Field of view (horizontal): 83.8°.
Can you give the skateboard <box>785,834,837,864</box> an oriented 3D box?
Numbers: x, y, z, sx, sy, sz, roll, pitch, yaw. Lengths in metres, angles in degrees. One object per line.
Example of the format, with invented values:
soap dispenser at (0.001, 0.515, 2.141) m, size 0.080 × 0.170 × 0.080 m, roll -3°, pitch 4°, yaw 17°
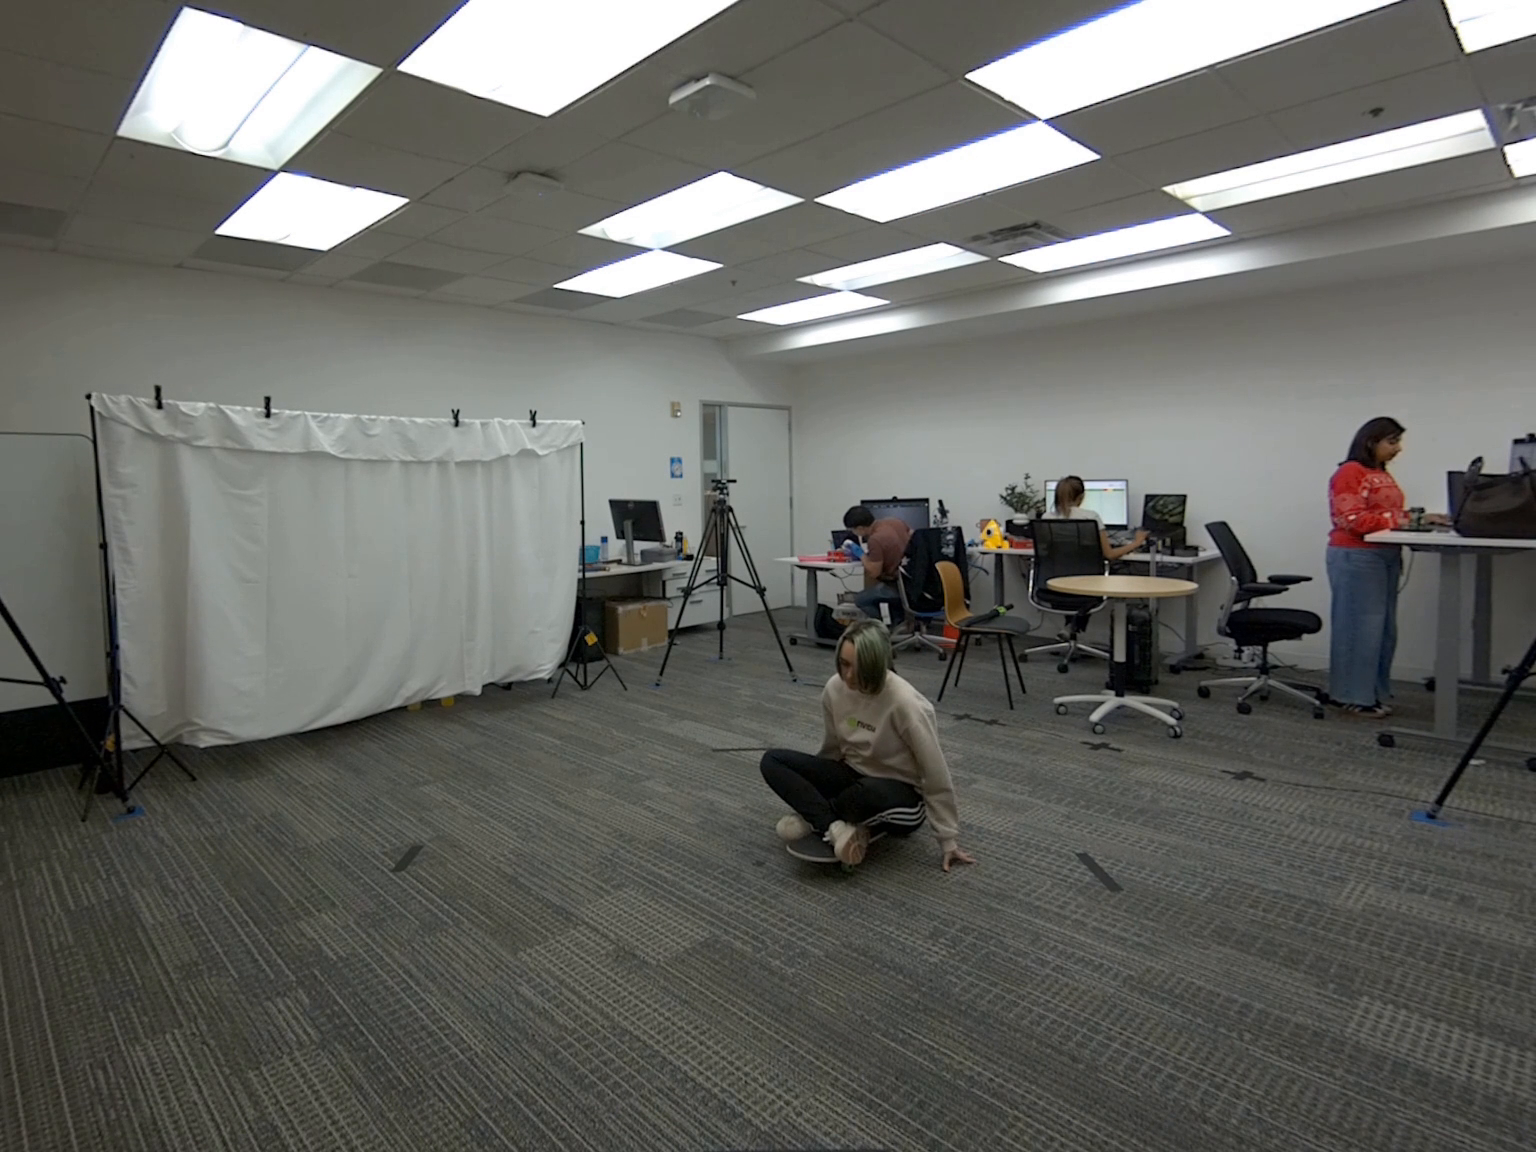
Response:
skateboard at (0.361, 0.970, 3.214) m, size 0.199 × 0.110 × 0.765 m, roll 8°, pitch 9°, yaw 38°
